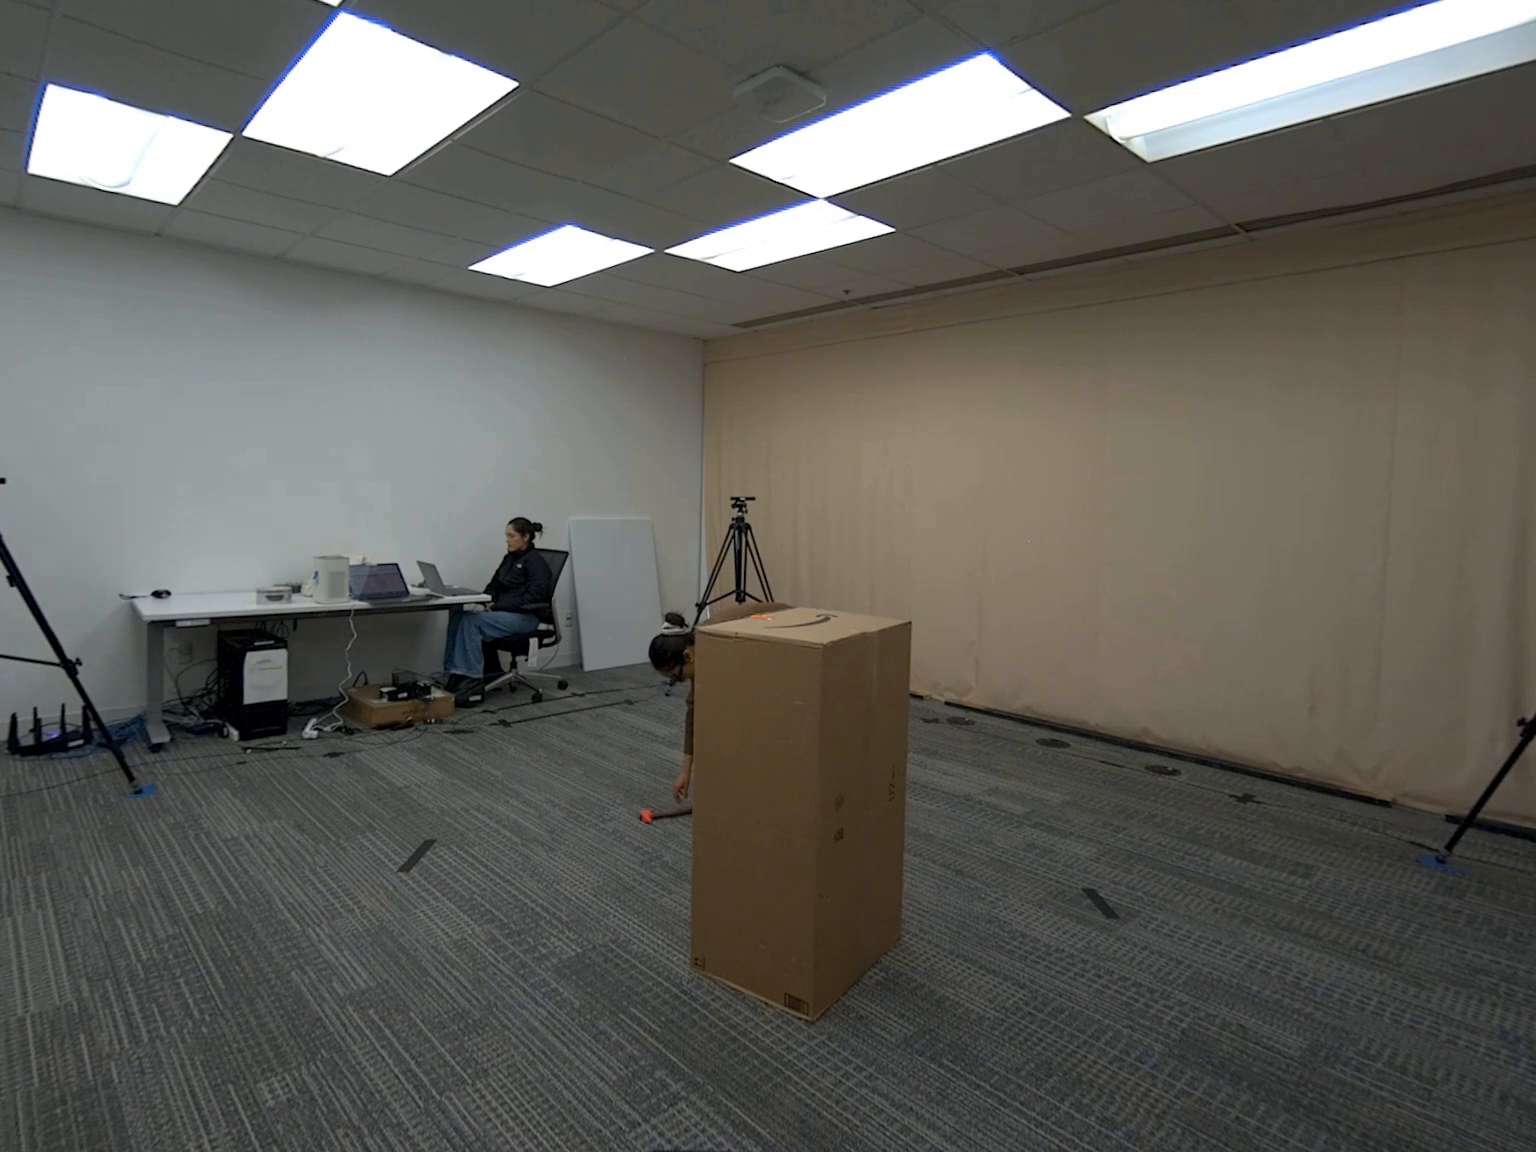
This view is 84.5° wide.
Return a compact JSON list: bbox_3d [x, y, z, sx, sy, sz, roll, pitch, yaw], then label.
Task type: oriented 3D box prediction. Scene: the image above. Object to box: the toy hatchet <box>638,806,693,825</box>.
[{"bbox_3d":[-0.463,1.040,3.698,0.264,0.029,0.134,-1,4,-41],"label":"toy hatchet"}]
